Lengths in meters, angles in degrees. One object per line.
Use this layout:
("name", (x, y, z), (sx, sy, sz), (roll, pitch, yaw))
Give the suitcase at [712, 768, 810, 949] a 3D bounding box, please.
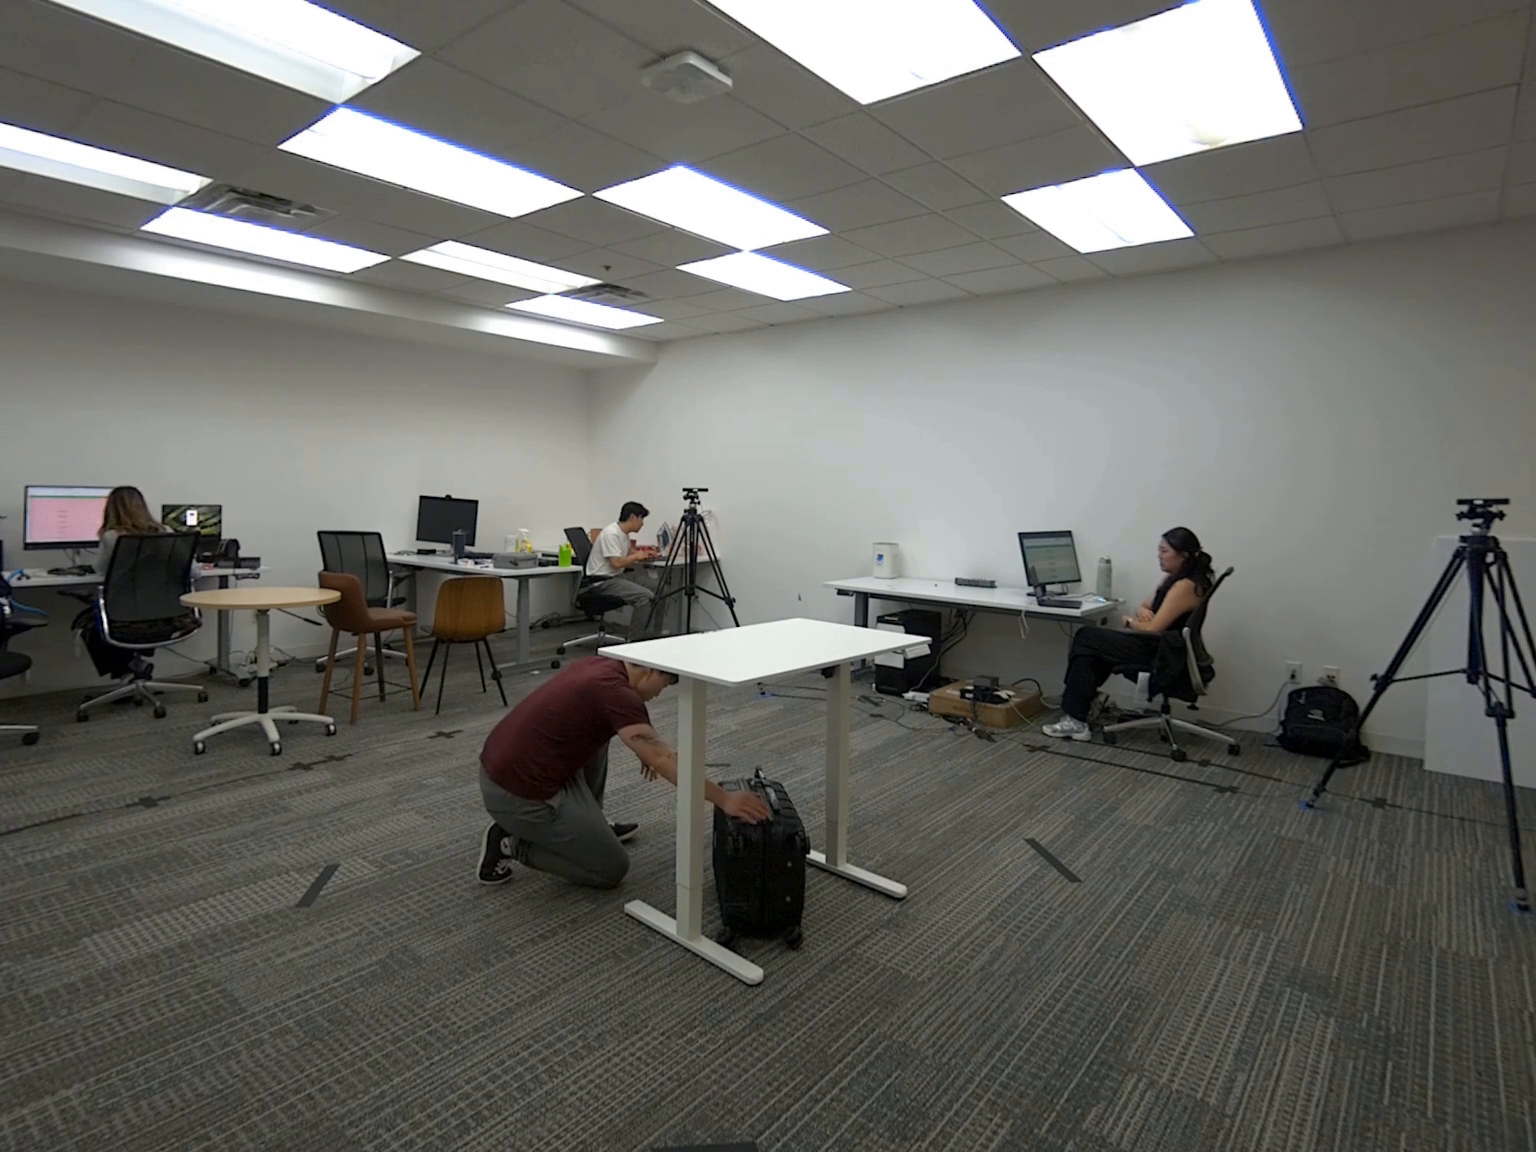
("suitcase", (-0.092, 0.889, 3.021), (0.254, 0.383, 0.991), (2, 4, -11))
